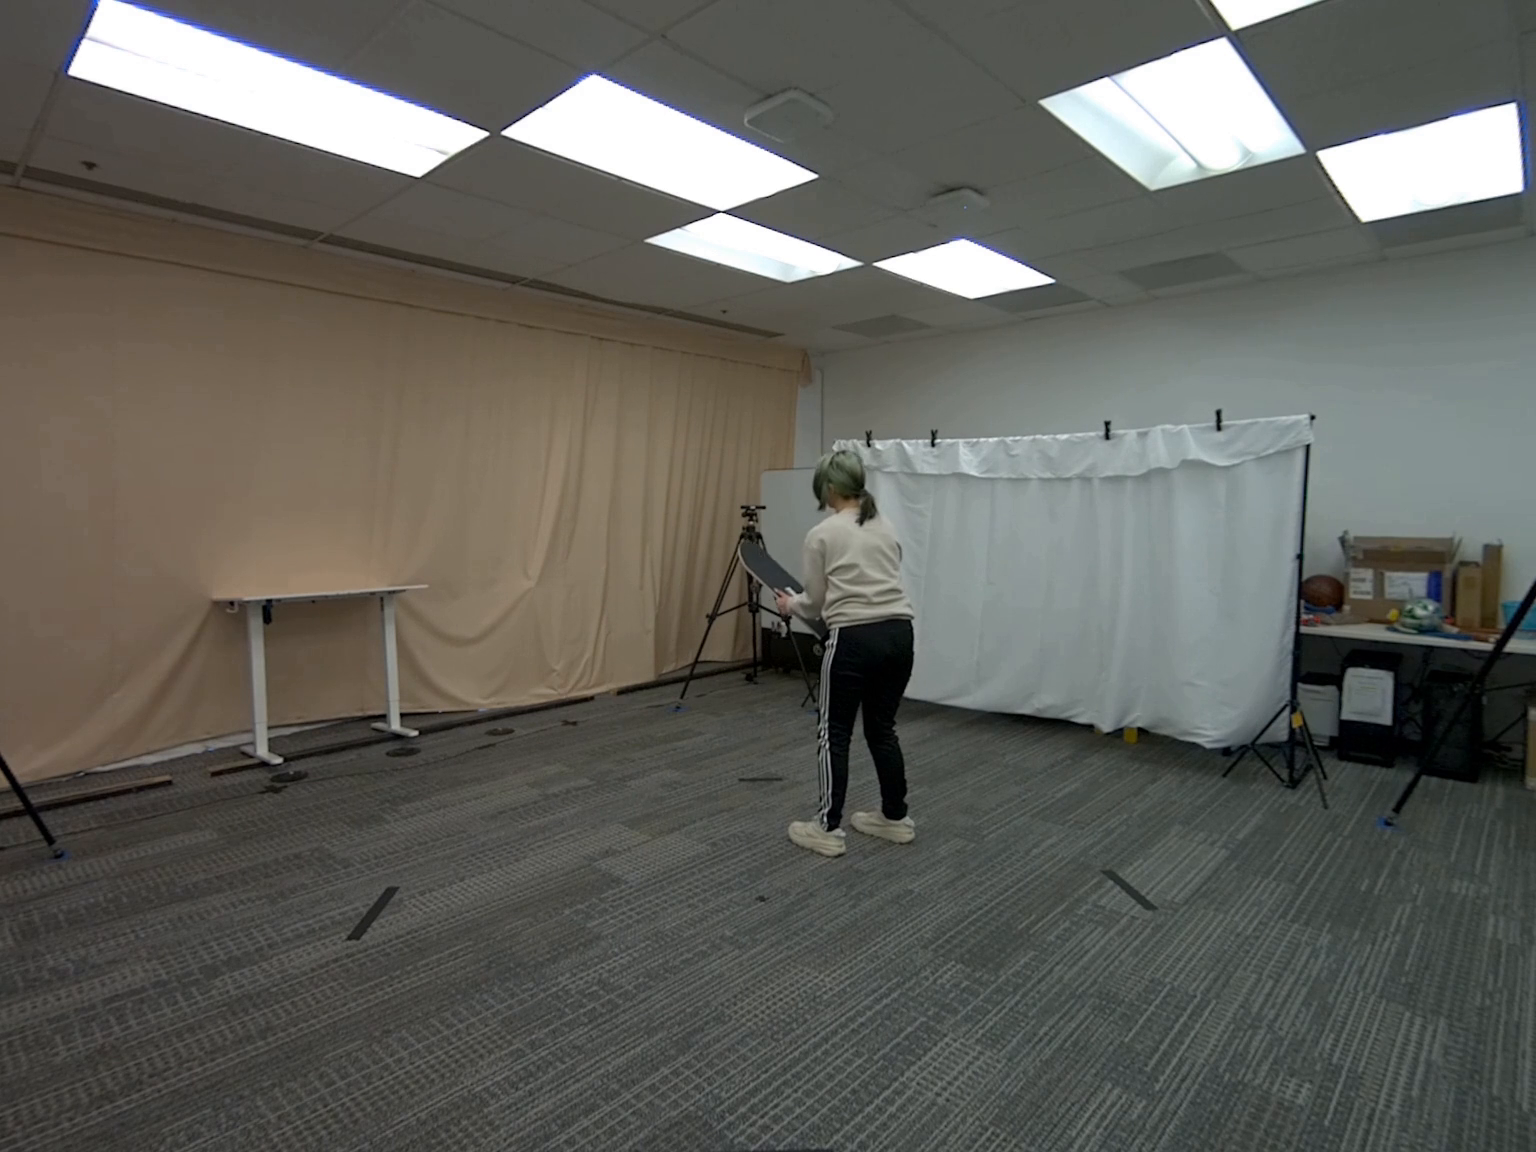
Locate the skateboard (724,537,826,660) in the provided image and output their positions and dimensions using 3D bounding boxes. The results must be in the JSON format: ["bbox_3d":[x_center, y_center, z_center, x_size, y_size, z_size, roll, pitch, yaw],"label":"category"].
[{"bbox_3d":[0.154,0.149,3.808,0.800,0.110,0.189,43,35,15],"label":"skateboard"}]
